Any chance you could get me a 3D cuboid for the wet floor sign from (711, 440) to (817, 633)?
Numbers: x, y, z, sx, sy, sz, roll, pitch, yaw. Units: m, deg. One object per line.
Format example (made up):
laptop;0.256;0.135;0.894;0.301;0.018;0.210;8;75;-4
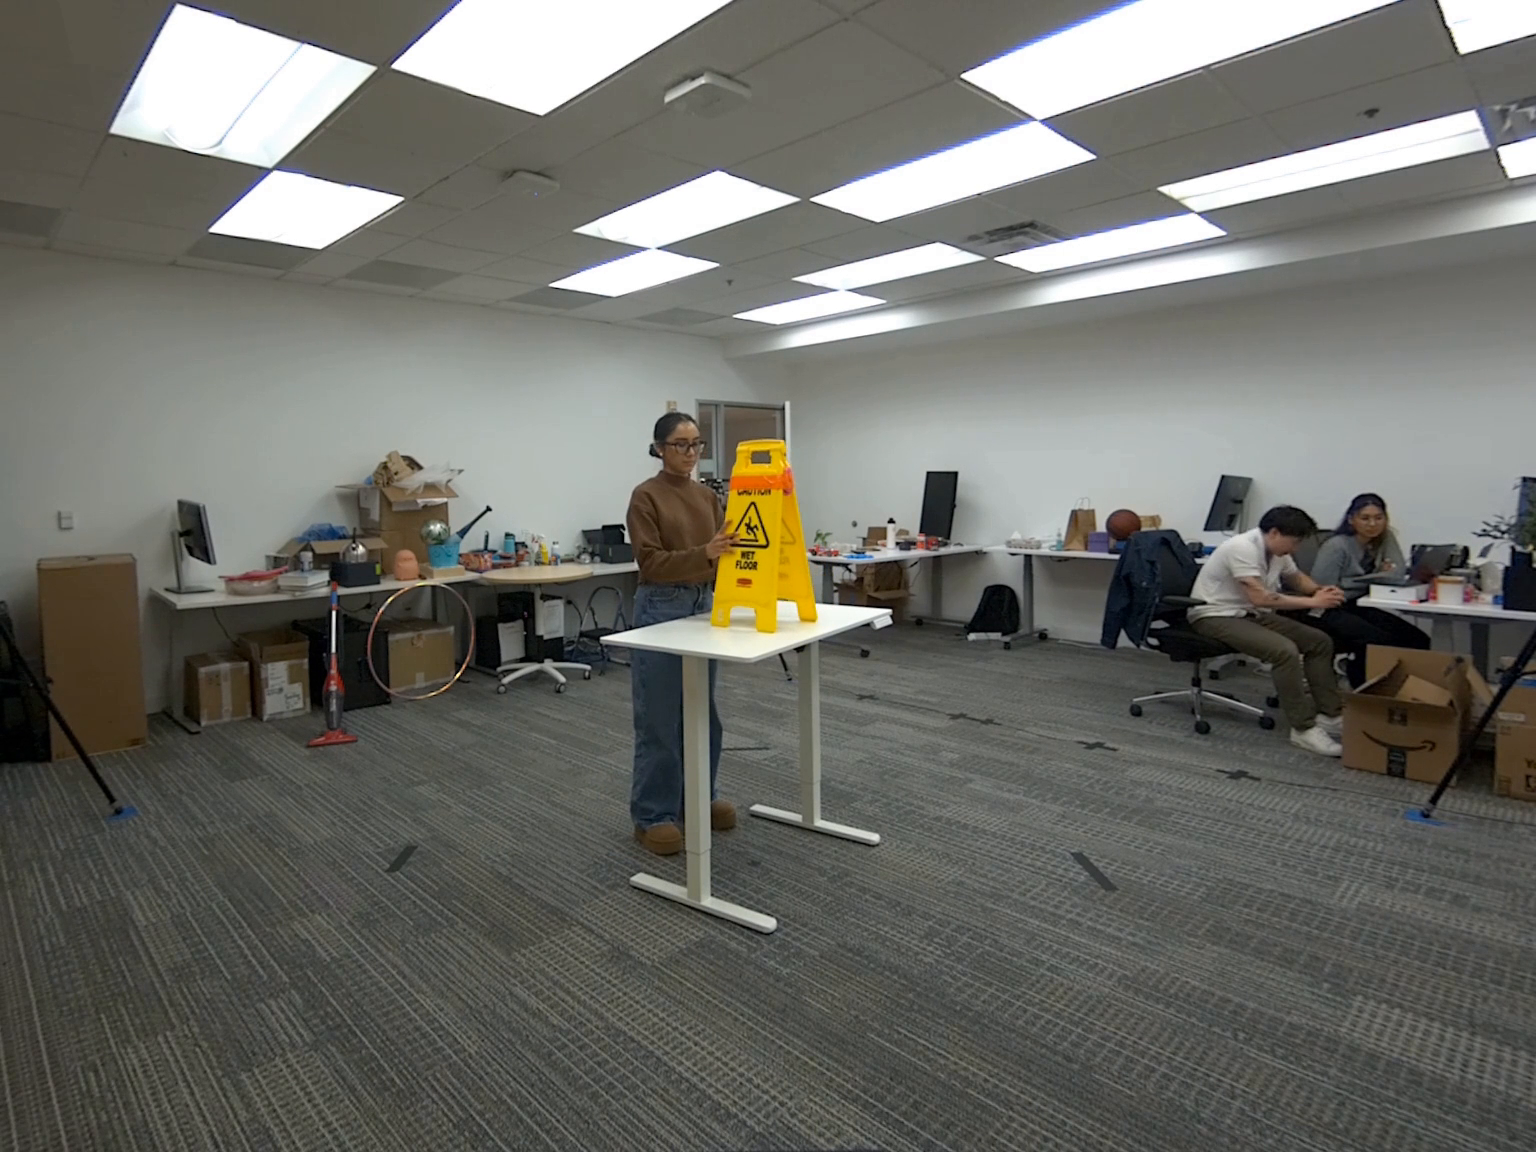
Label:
wet floor sign;-0.017;-0.151;3.021;0.290;0.644;0.282;2;5;38
